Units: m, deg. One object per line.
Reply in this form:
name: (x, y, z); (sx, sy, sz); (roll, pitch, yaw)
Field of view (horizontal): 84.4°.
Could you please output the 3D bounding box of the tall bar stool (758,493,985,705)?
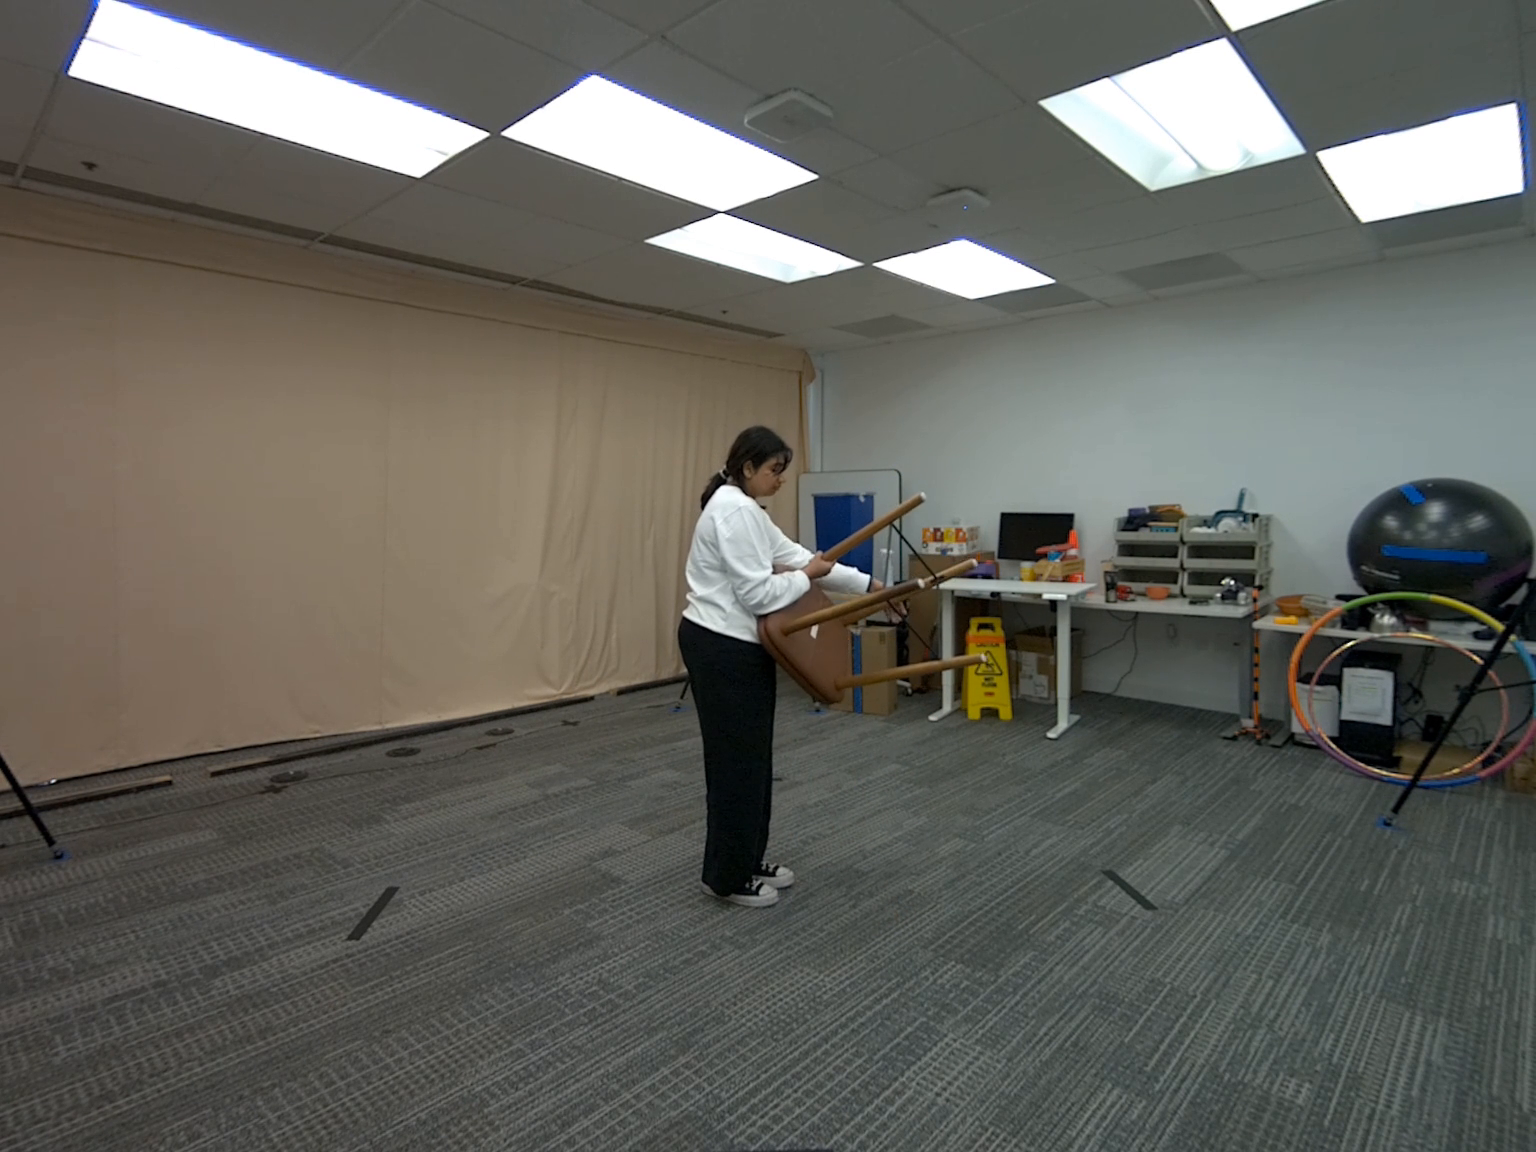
tall bar stool: (0.264, 0.142, 2.943); (0.908, 0.444, 0.471); (-23, 33, 34)
